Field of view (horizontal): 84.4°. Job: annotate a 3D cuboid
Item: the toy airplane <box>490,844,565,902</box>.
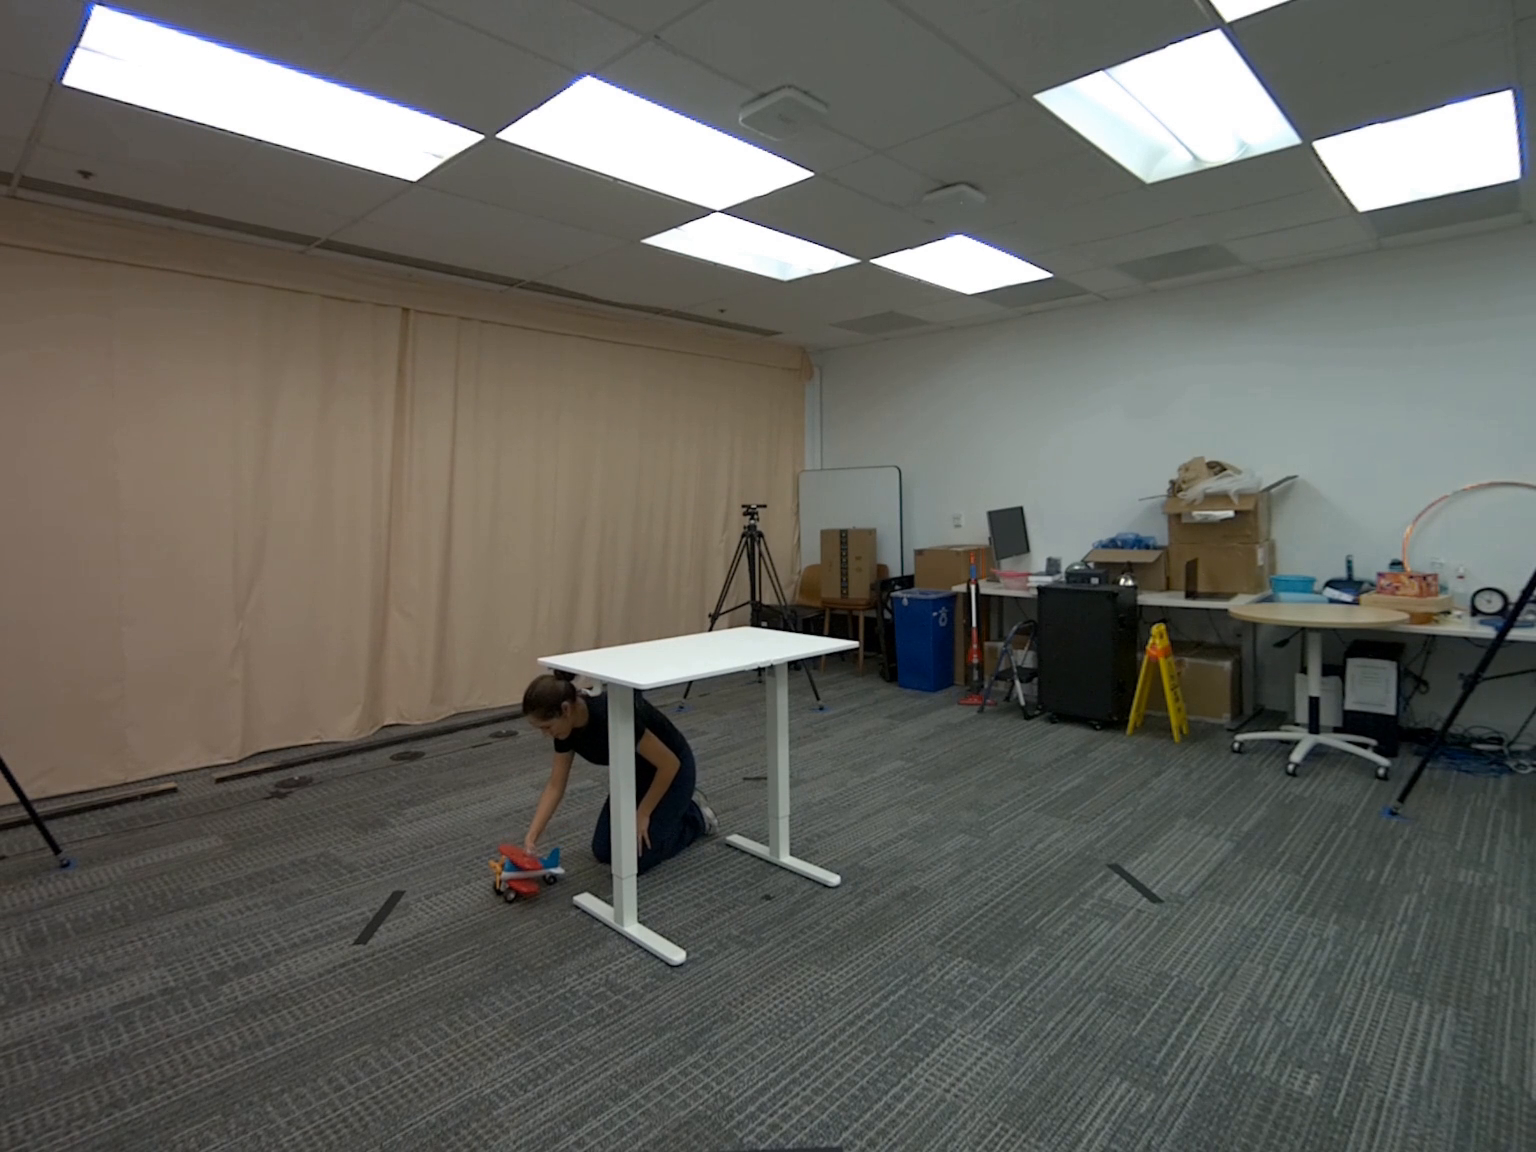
[{"bbox_3d":[-0.887,1.078,3.083,0.257,0.156,0.254,2,7,21],"label":"toy airplane"}]
